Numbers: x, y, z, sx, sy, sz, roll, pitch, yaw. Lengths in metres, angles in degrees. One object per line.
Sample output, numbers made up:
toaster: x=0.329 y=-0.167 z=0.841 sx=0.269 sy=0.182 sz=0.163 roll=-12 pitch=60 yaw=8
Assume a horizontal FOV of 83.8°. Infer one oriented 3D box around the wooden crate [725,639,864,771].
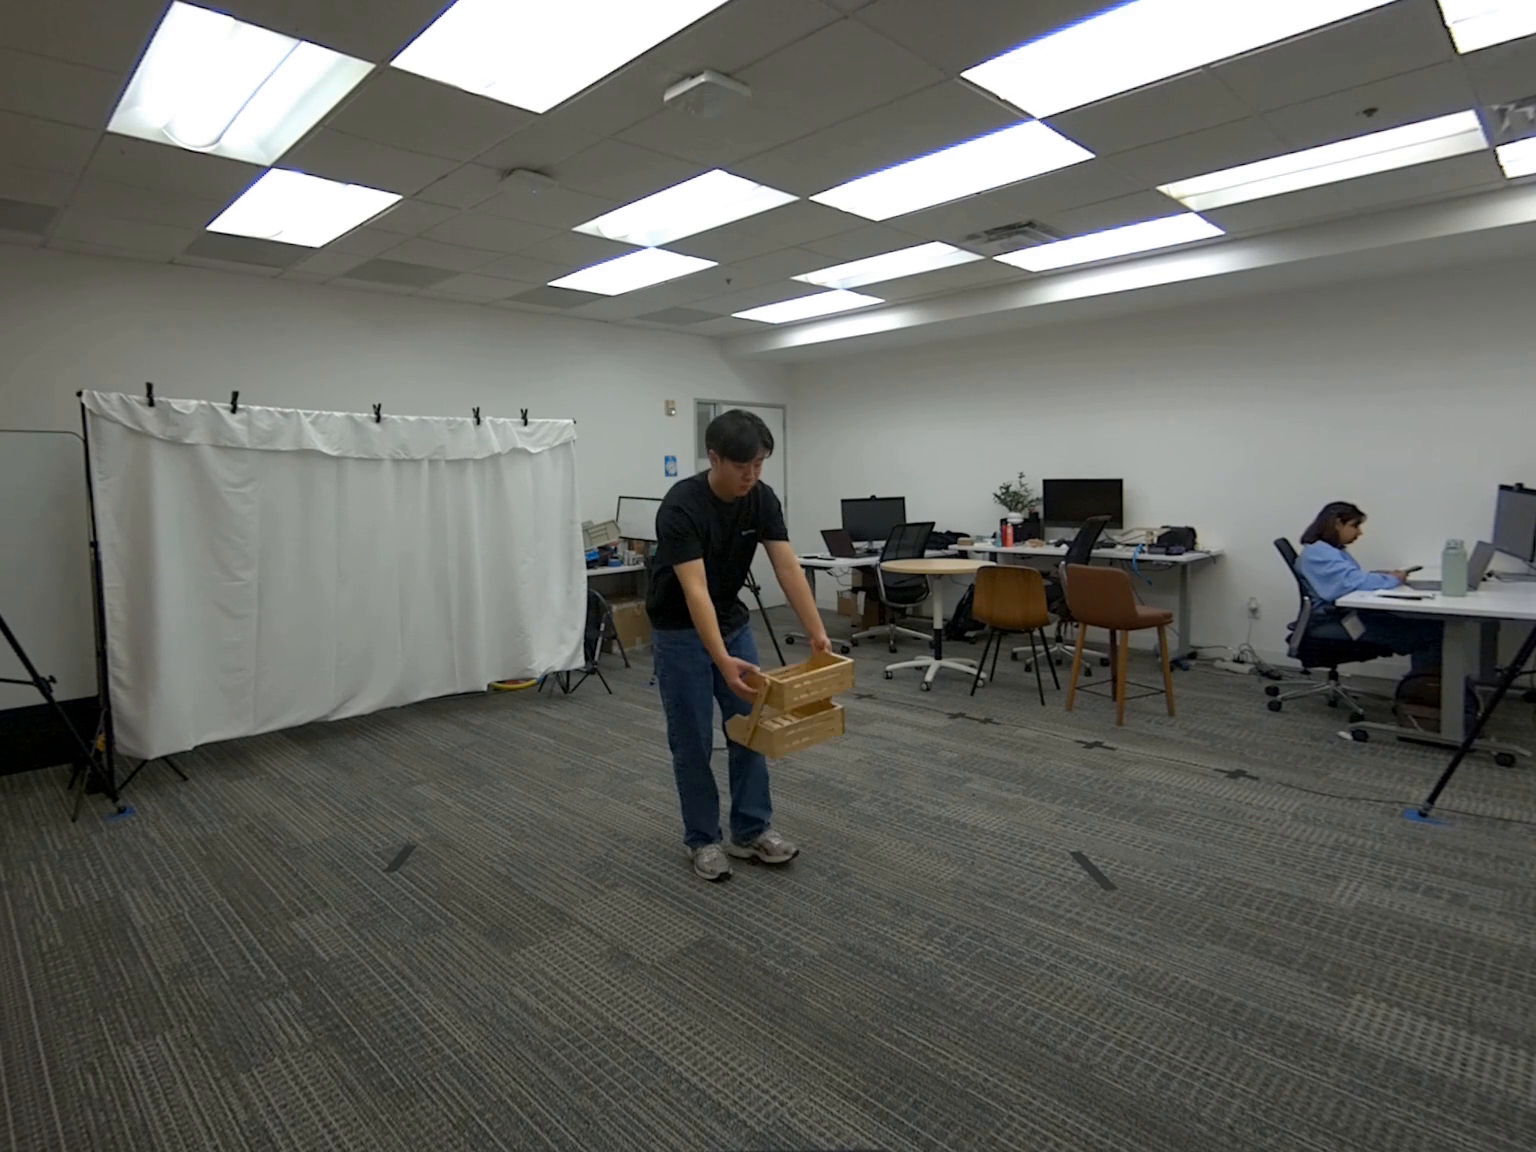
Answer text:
wooden crate: x=0.077 y=0.400 z=2.759 sx=0.317 sy=0.271 sz=0.312 roll=-11 pitch=14 yaw=-36
